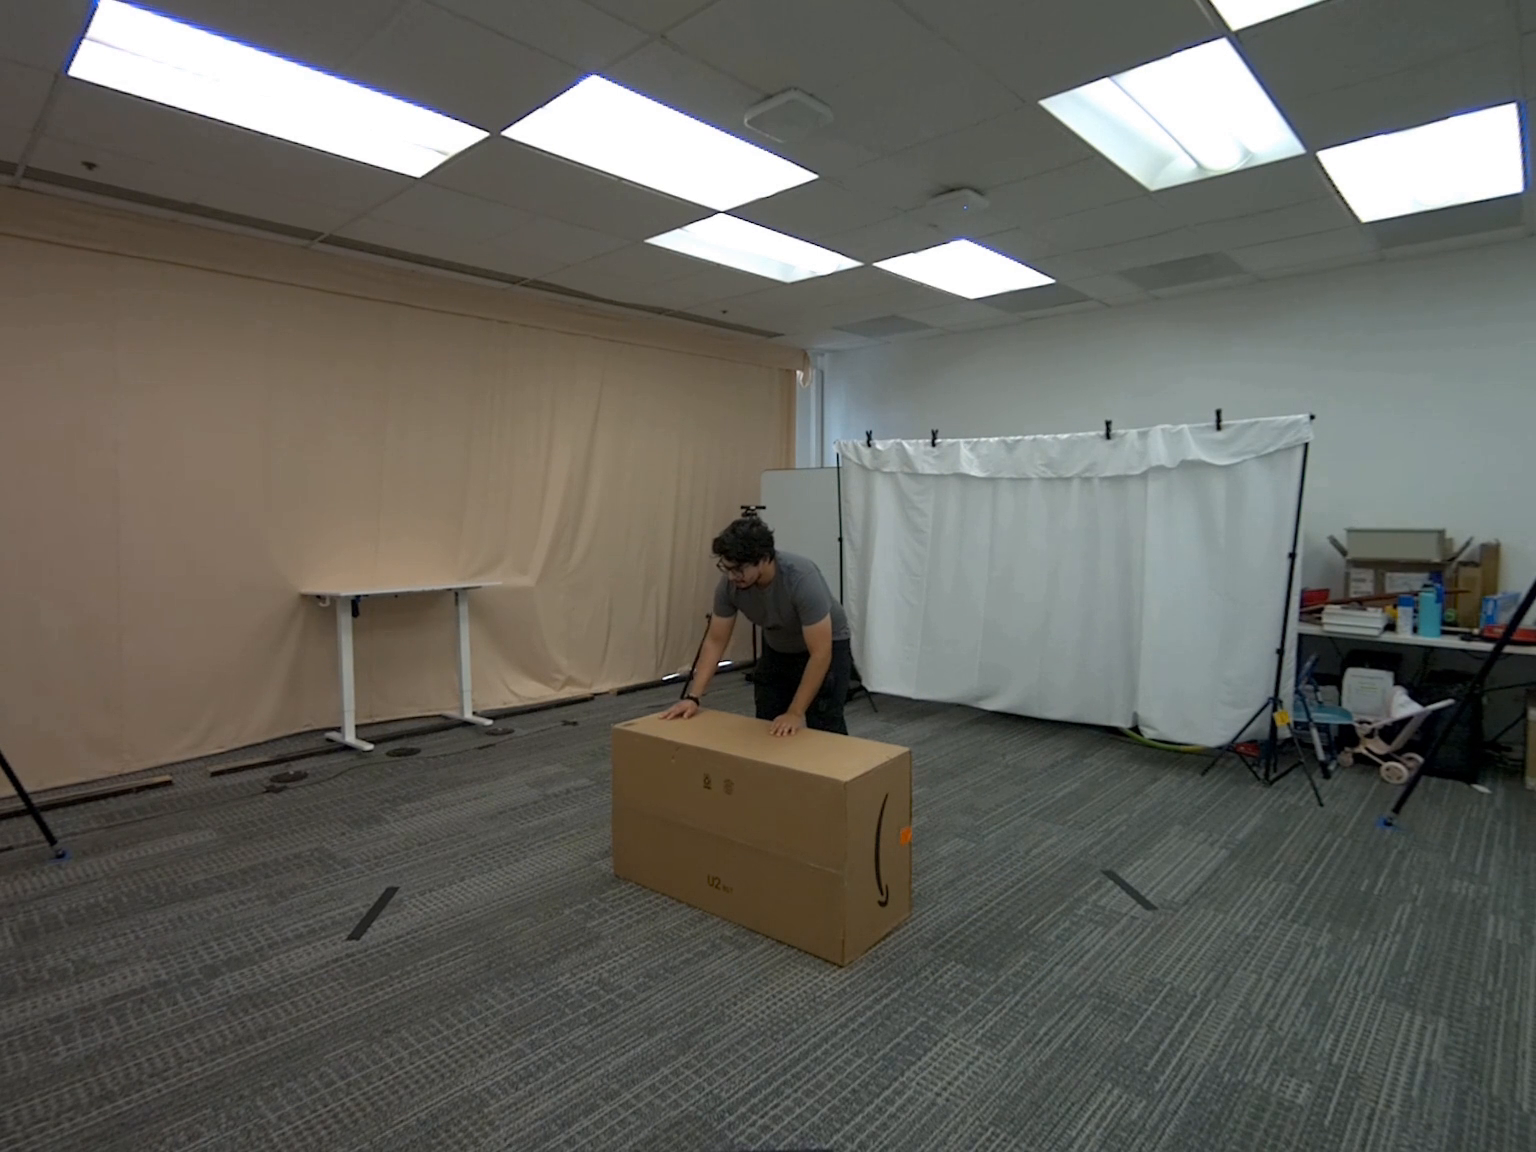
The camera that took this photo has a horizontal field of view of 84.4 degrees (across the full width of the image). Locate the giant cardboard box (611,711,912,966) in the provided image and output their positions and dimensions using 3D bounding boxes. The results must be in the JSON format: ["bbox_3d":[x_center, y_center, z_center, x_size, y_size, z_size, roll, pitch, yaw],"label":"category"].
[{"bbox_3d":[-0.046,0.851,3.002,1.059,0.576,0.413,3,4,38],"label":"giant cardboard box"}]
